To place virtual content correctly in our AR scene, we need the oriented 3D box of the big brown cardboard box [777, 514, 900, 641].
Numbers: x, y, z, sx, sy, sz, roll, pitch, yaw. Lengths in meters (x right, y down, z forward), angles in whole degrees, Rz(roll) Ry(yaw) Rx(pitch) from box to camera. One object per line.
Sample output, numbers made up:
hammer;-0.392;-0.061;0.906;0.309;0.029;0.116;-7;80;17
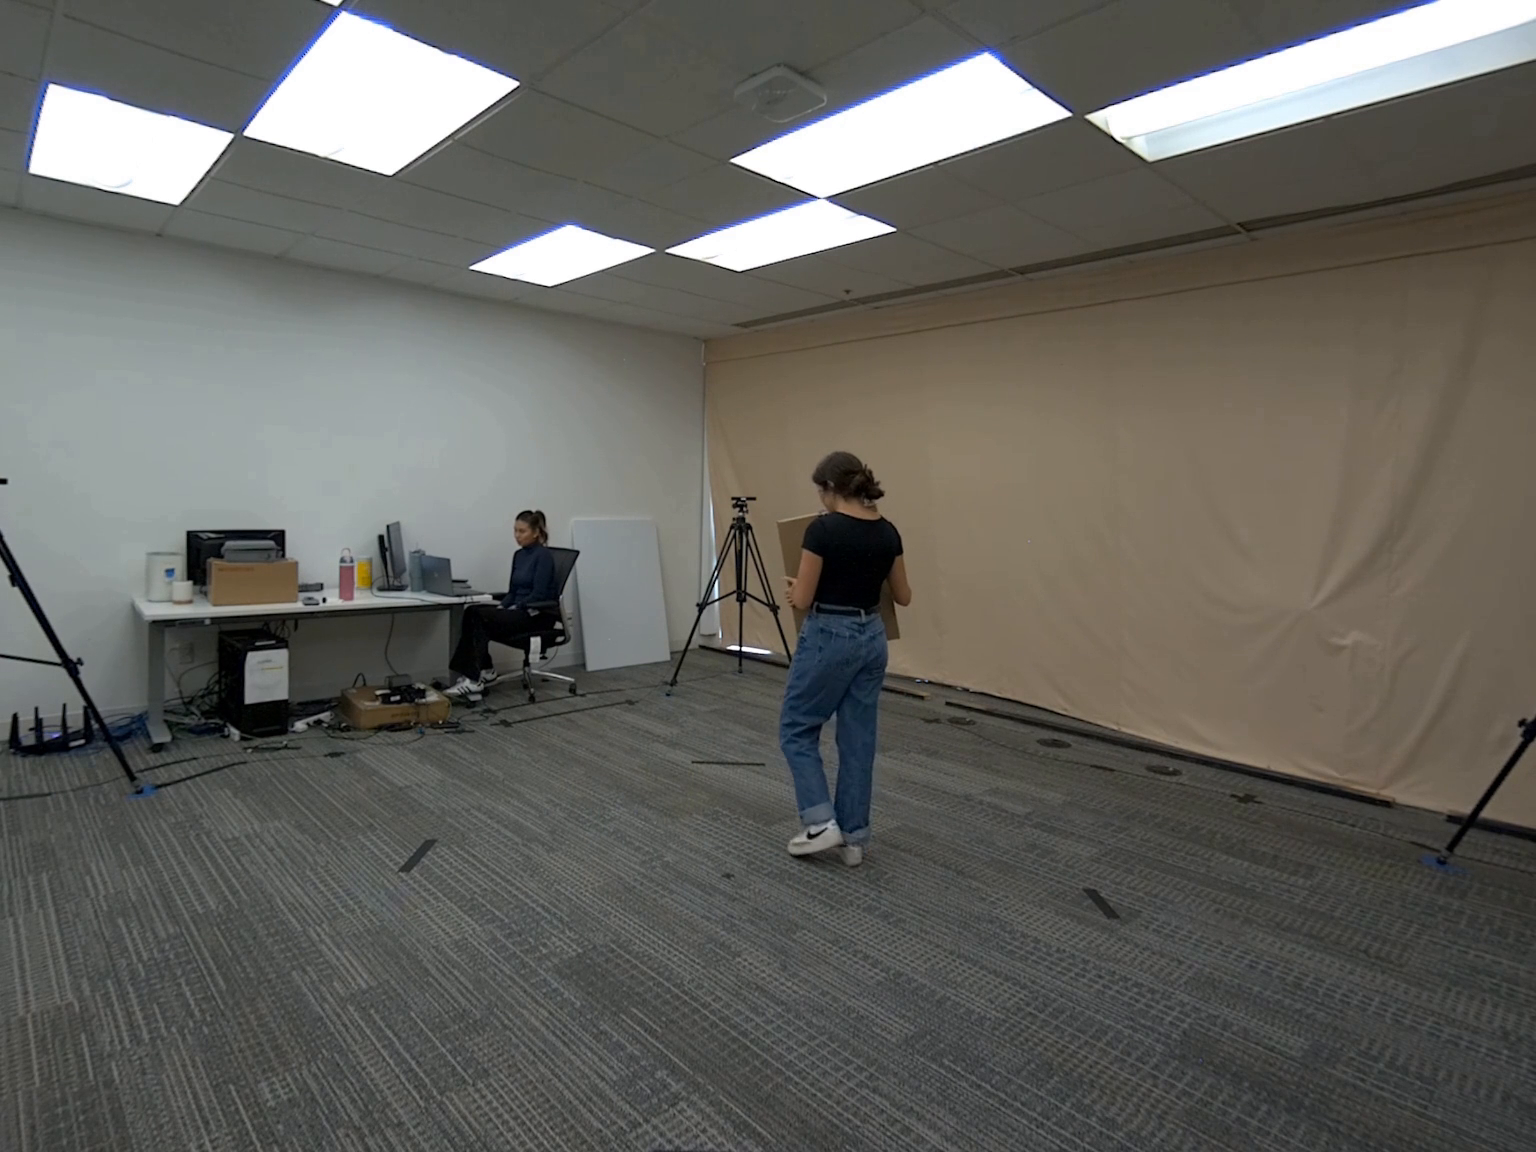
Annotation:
big brown cardboard box;0.287;-0.001;3.555;0.420;0.588;0.232;-8;1;8
